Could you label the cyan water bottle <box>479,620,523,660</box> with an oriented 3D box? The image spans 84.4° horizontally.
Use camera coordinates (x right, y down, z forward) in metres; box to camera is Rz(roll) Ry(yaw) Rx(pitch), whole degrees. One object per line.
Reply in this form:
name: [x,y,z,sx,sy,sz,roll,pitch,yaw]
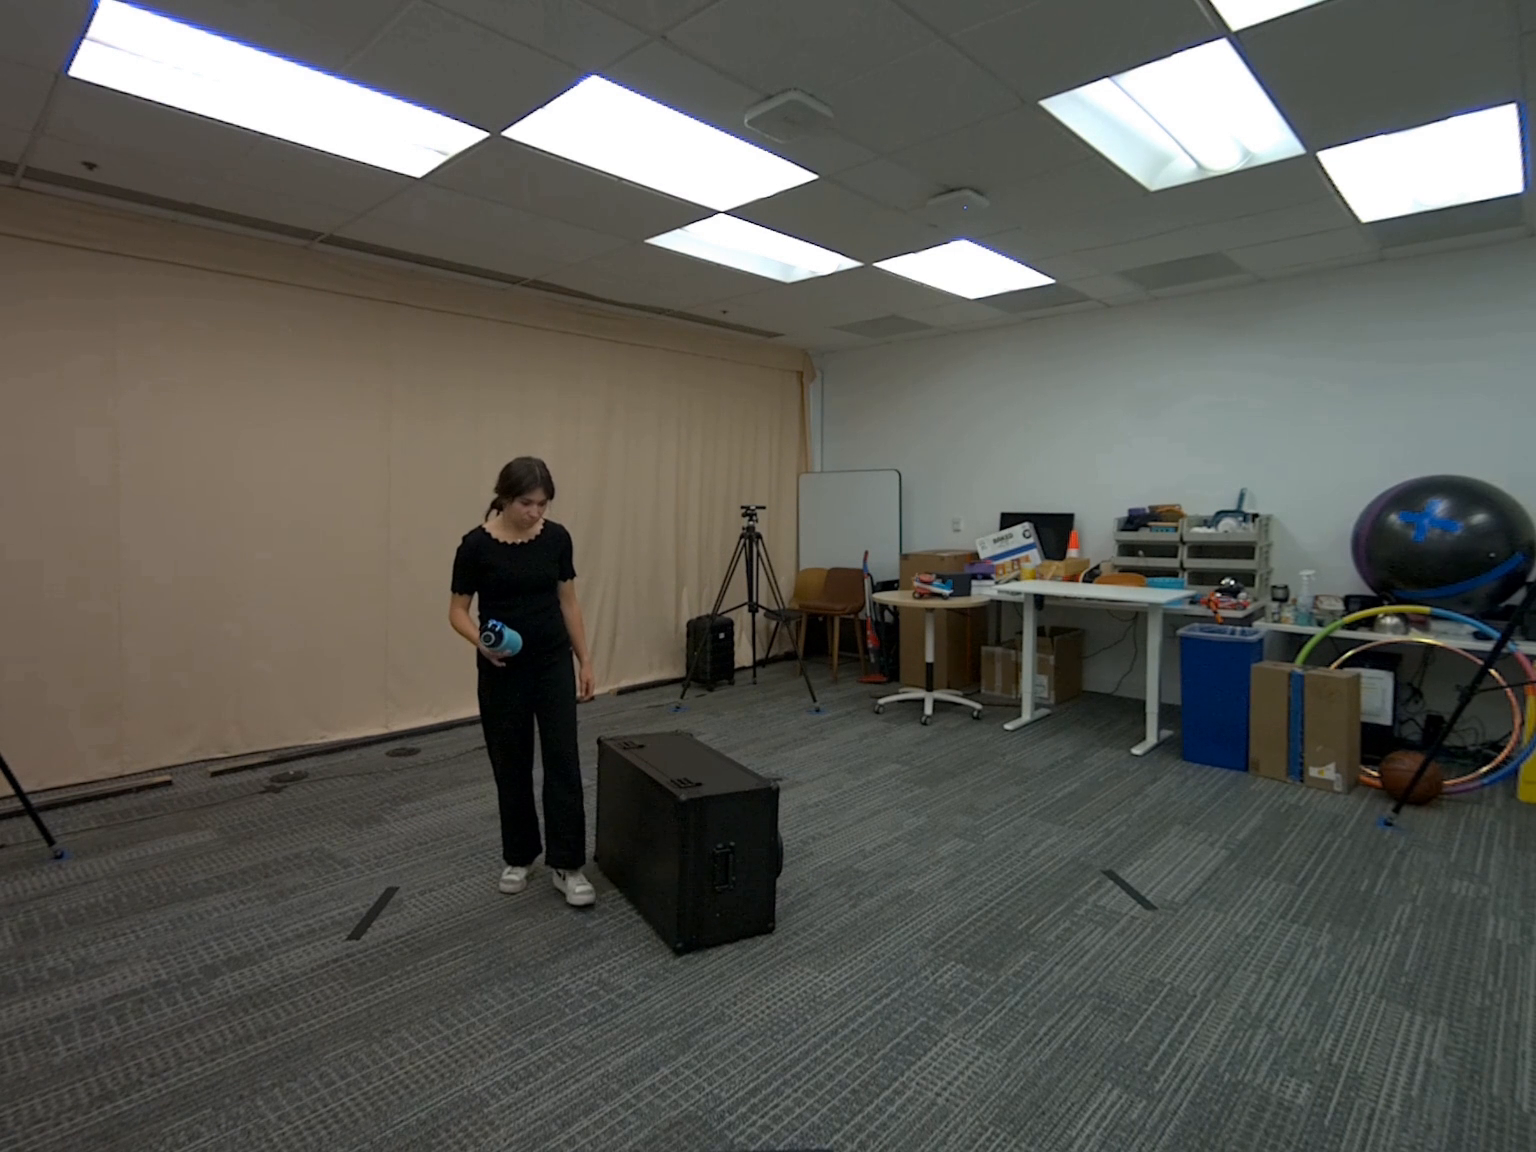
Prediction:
cyan water bottle: [-0.882,0.207,2.774,0.092,0.093,0.282,0,-12,-3]
